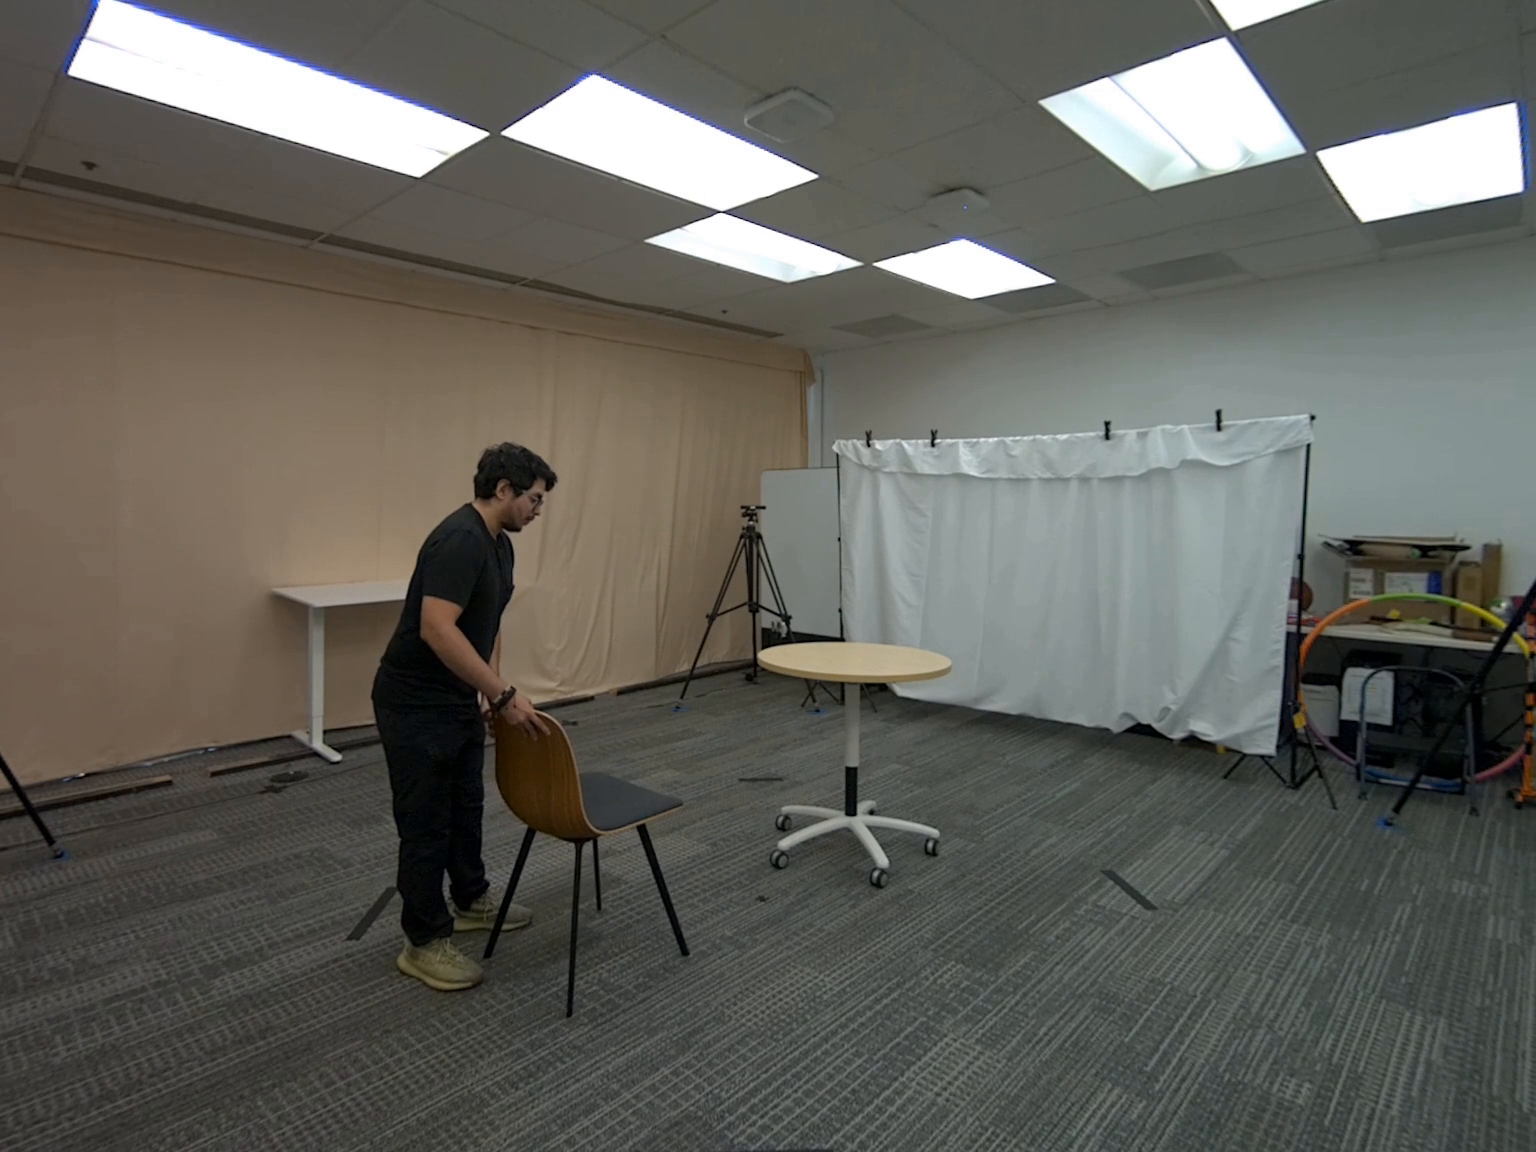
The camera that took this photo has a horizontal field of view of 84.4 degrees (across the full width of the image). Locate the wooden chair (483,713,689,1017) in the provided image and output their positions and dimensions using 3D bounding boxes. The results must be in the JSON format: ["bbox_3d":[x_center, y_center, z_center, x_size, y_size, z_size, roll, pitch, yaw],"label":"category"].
[{"bbox_3d":[-0.554,0.754,2.577,0.494,0.874,0.508,2,8,43],"label":"wooden chair"}]
